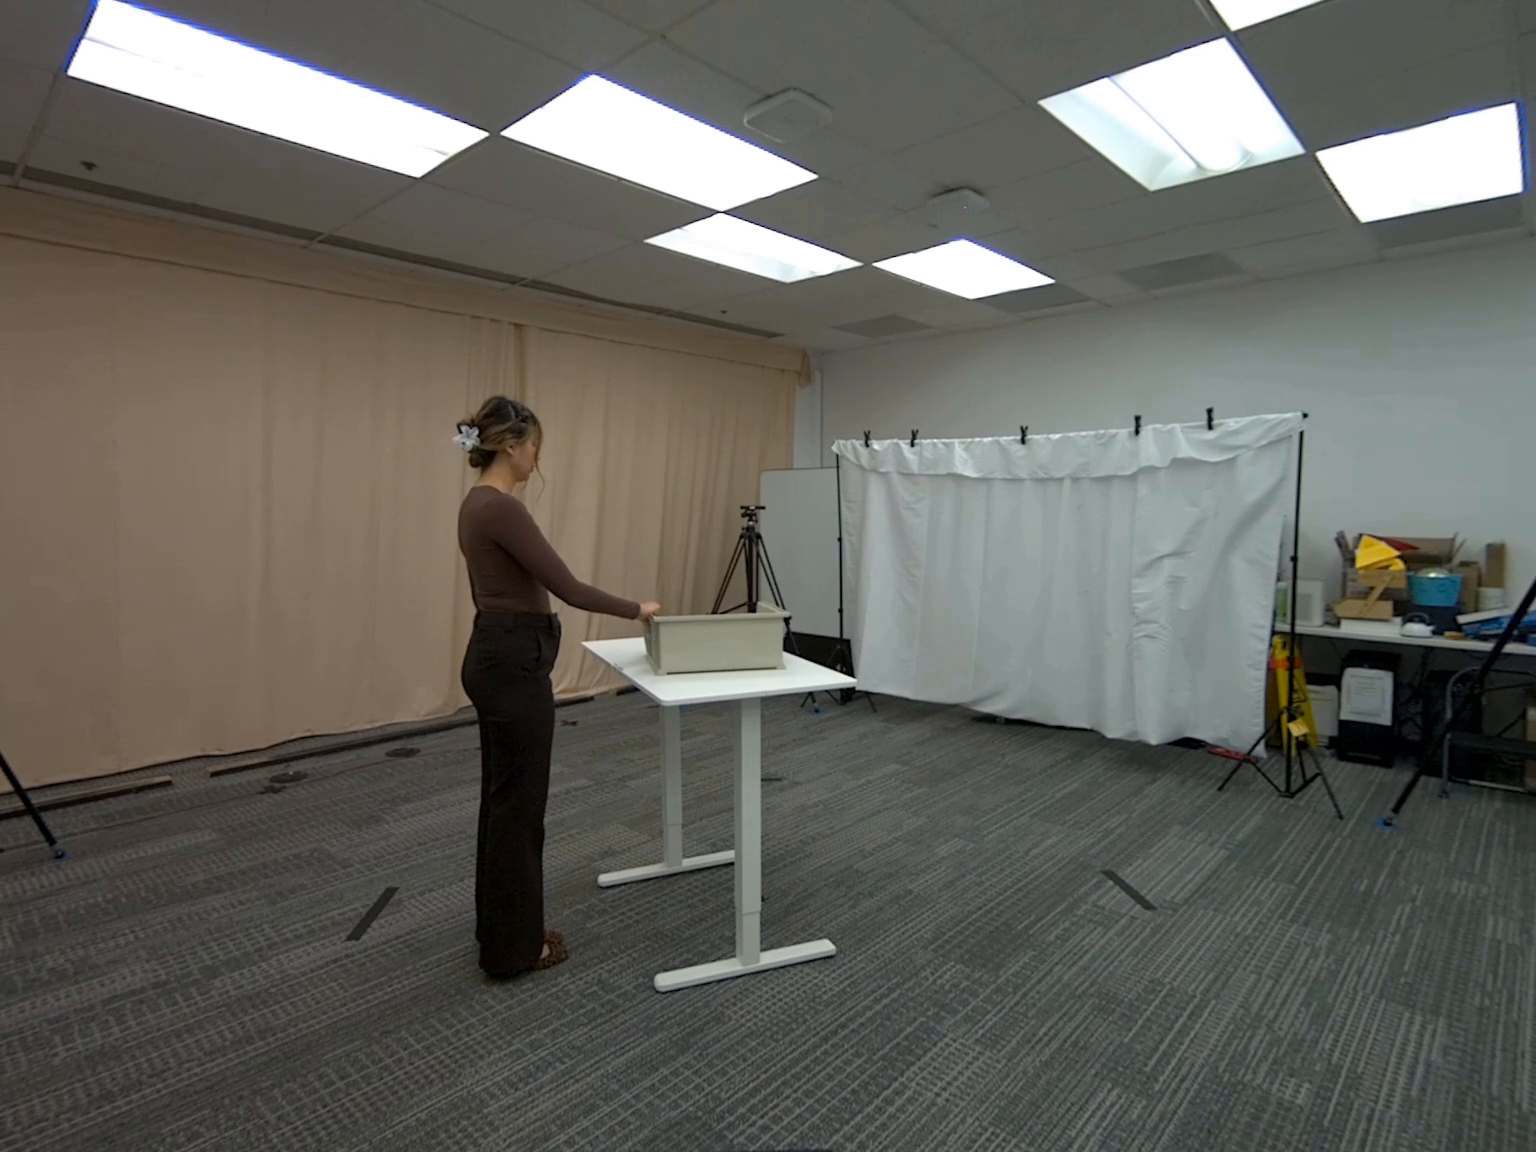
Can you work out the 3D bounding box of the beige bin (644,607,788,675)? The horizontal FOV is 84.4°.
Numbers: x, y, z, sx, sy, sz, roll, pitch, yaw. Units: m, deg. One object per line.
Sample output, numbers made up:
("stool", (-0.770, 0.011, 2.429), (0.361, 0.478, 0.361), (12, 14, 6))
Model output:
("beige bin", (-0.184, 0.195, 2.754), (0.417, 0.188, 0.383), (-1, 5, -13))
